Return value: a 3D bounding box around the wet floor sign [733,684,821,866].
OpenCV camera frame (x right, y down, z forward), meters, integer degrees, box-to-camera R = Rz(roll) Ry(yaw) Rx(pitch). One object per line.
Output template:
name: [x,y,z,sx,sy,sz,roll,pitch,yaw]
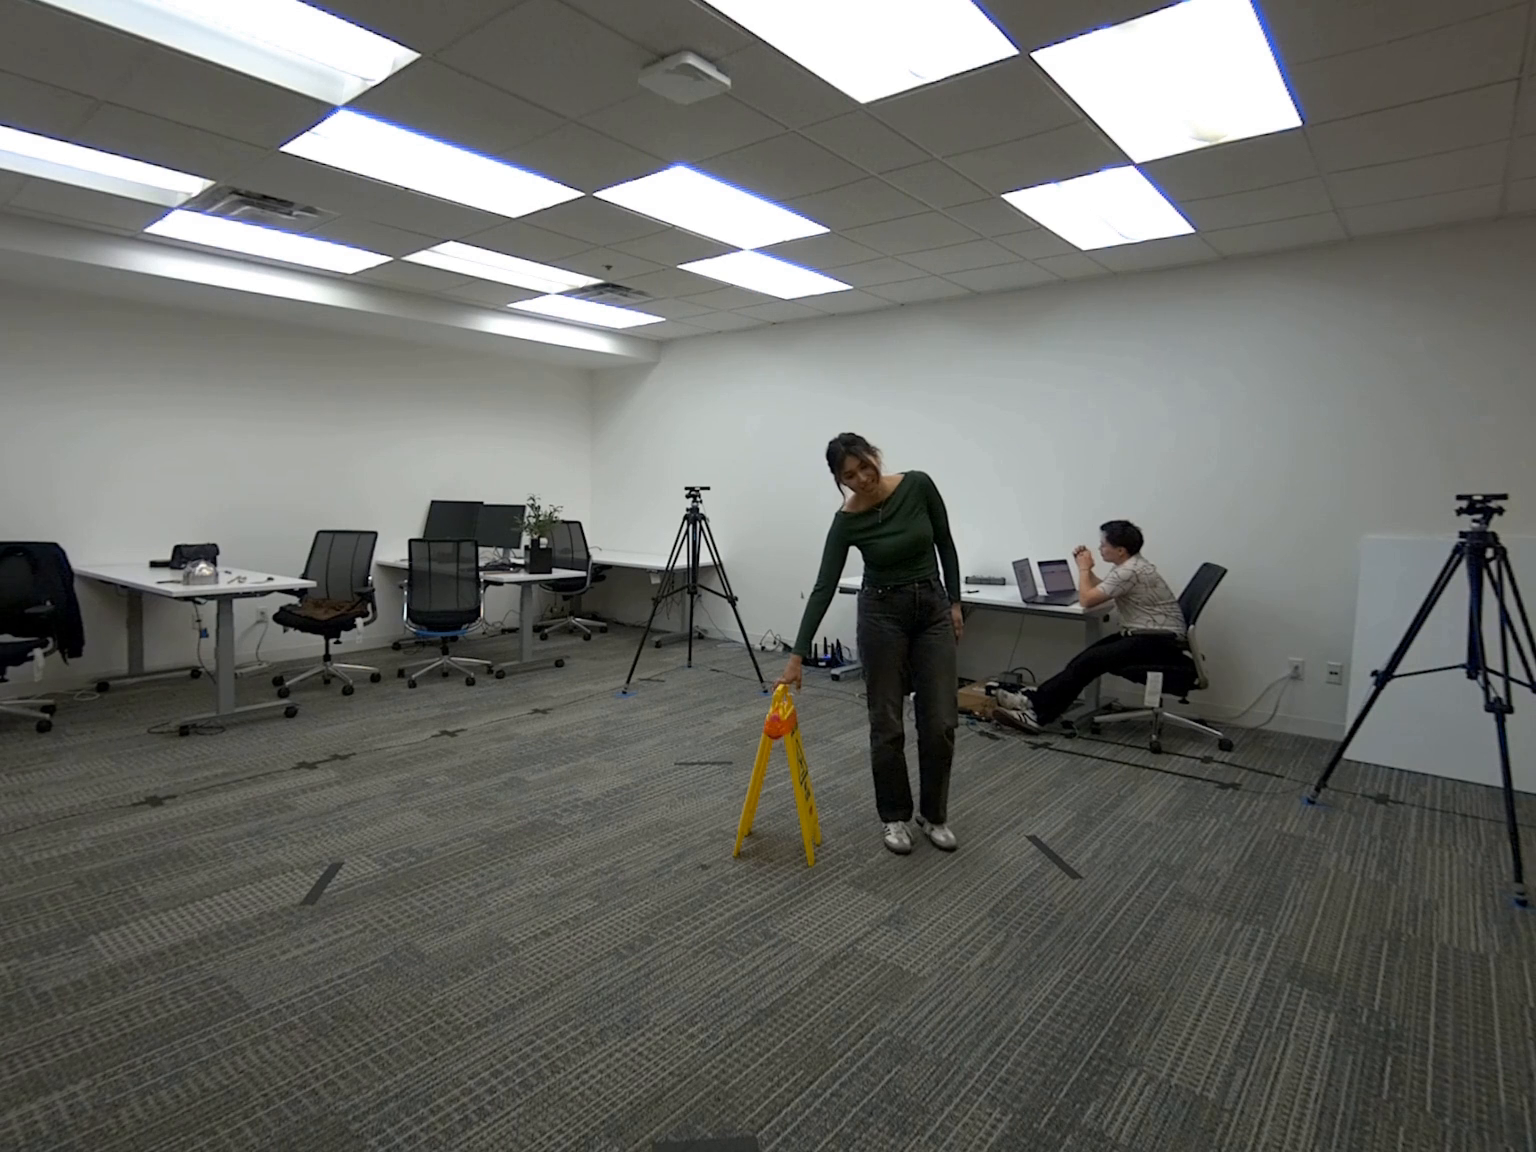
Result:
wet floor sign: [0.036,0.729,3.284,0.294,0.645,0.278,1,1,13]
